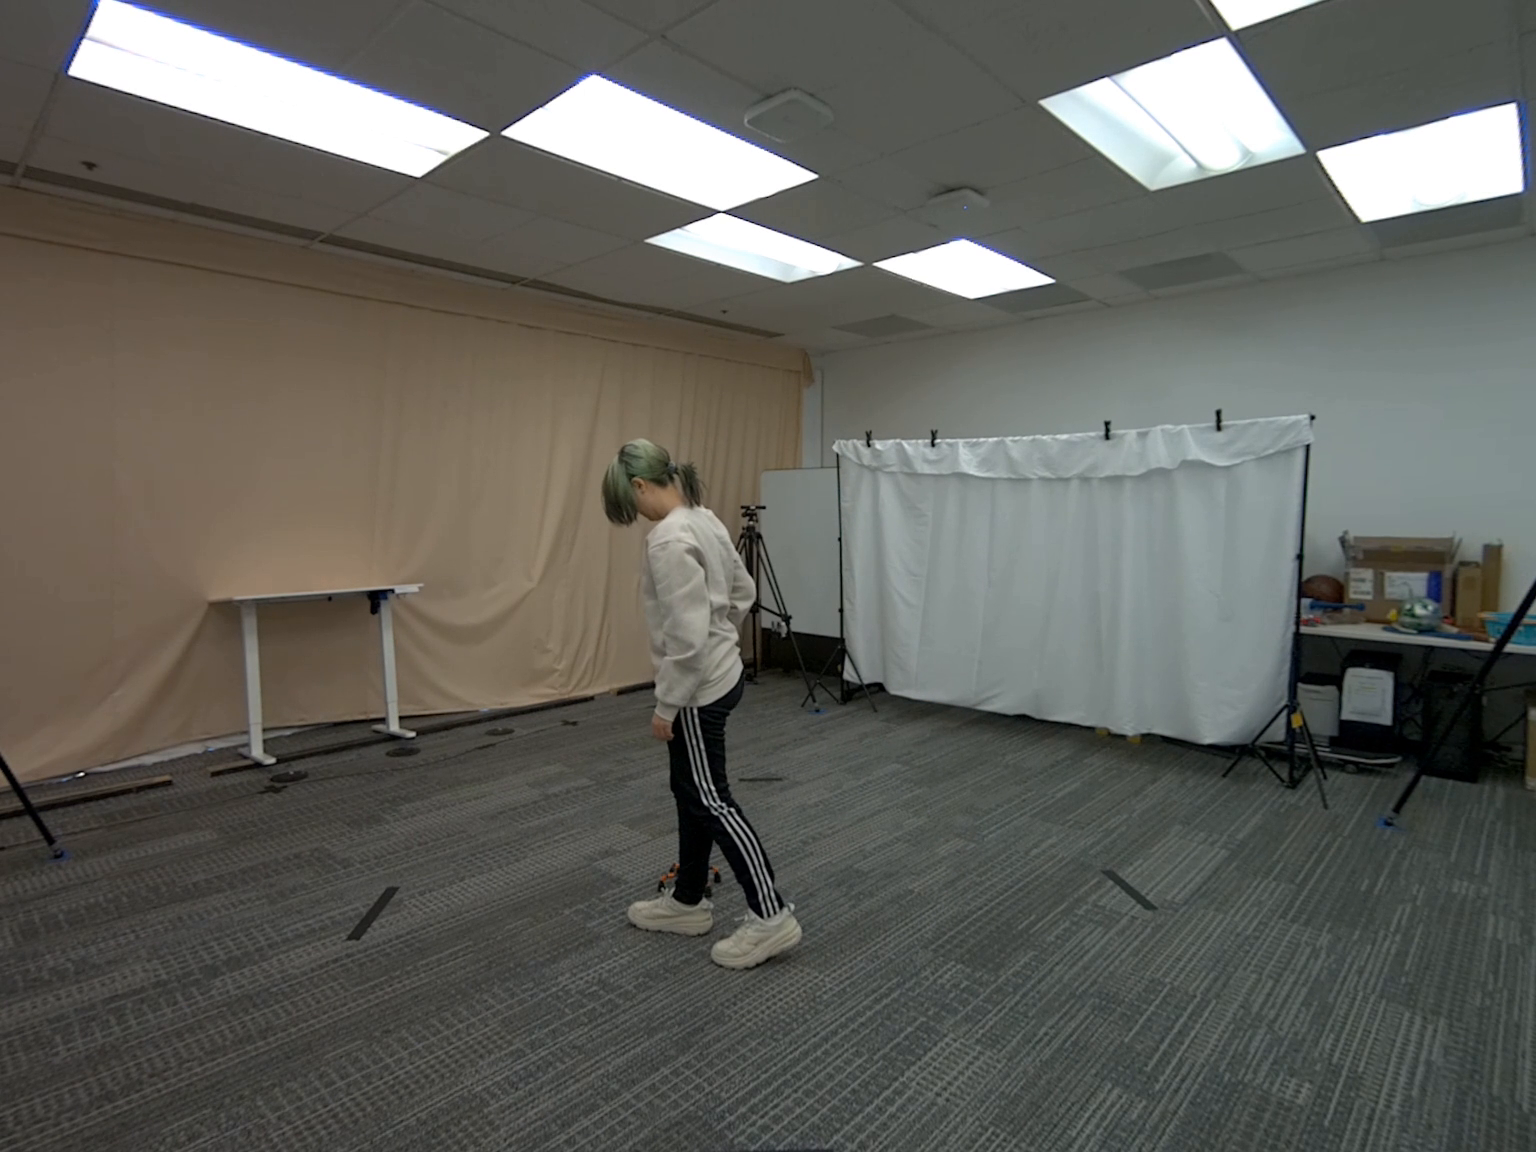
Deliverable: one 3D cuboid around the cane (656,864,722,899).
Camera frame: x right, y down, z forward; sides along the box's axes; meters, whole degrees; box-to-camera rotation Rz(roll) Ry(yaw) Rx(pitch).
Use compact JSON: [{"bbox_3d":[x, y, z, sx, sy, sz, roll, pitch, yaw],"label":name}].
[{"bbox_3d":[-0.301,0.677,3.064,0.210,0.906,0.149,-1,2,14],"label":"cane"}]
